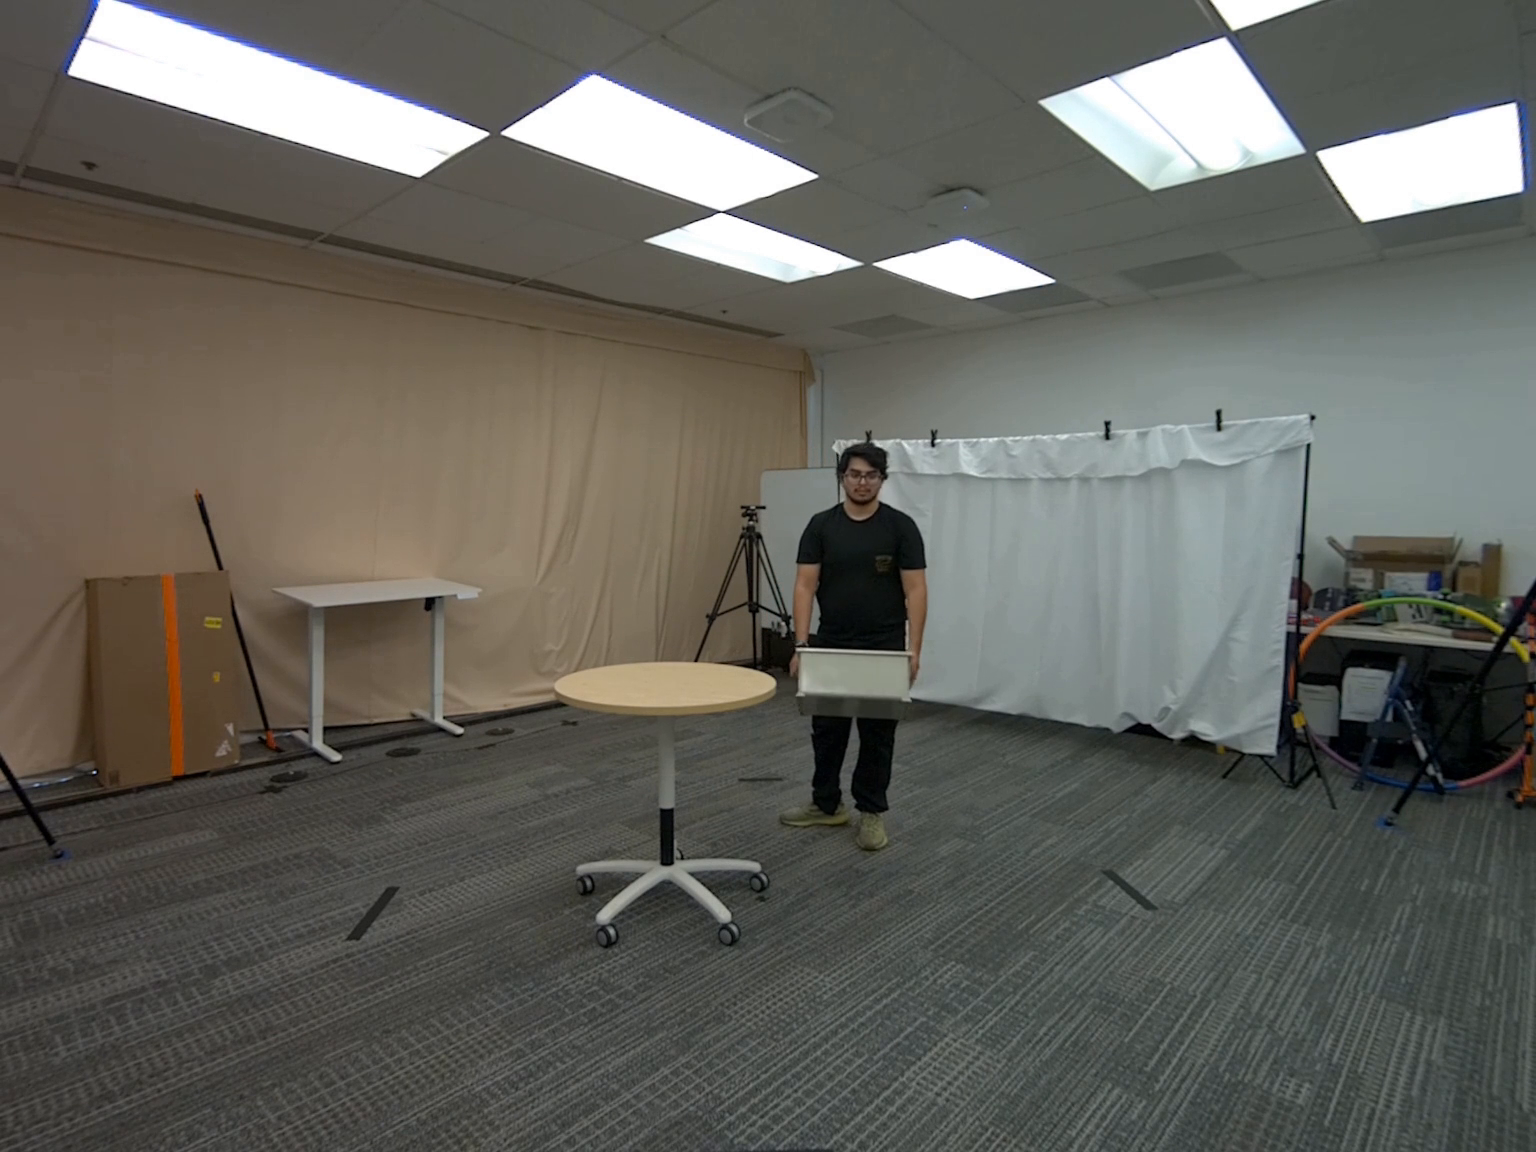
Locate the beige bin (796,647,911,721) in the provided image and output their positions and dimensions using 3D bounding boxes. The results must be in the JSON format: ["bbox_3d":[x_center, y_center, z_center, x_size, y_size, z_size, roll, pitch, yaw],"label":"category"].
[{"bbox_3d":[0.325,0.423,3.222,0.426,0.191,0.370,2,-22,8],"label":"beige bin"}]
